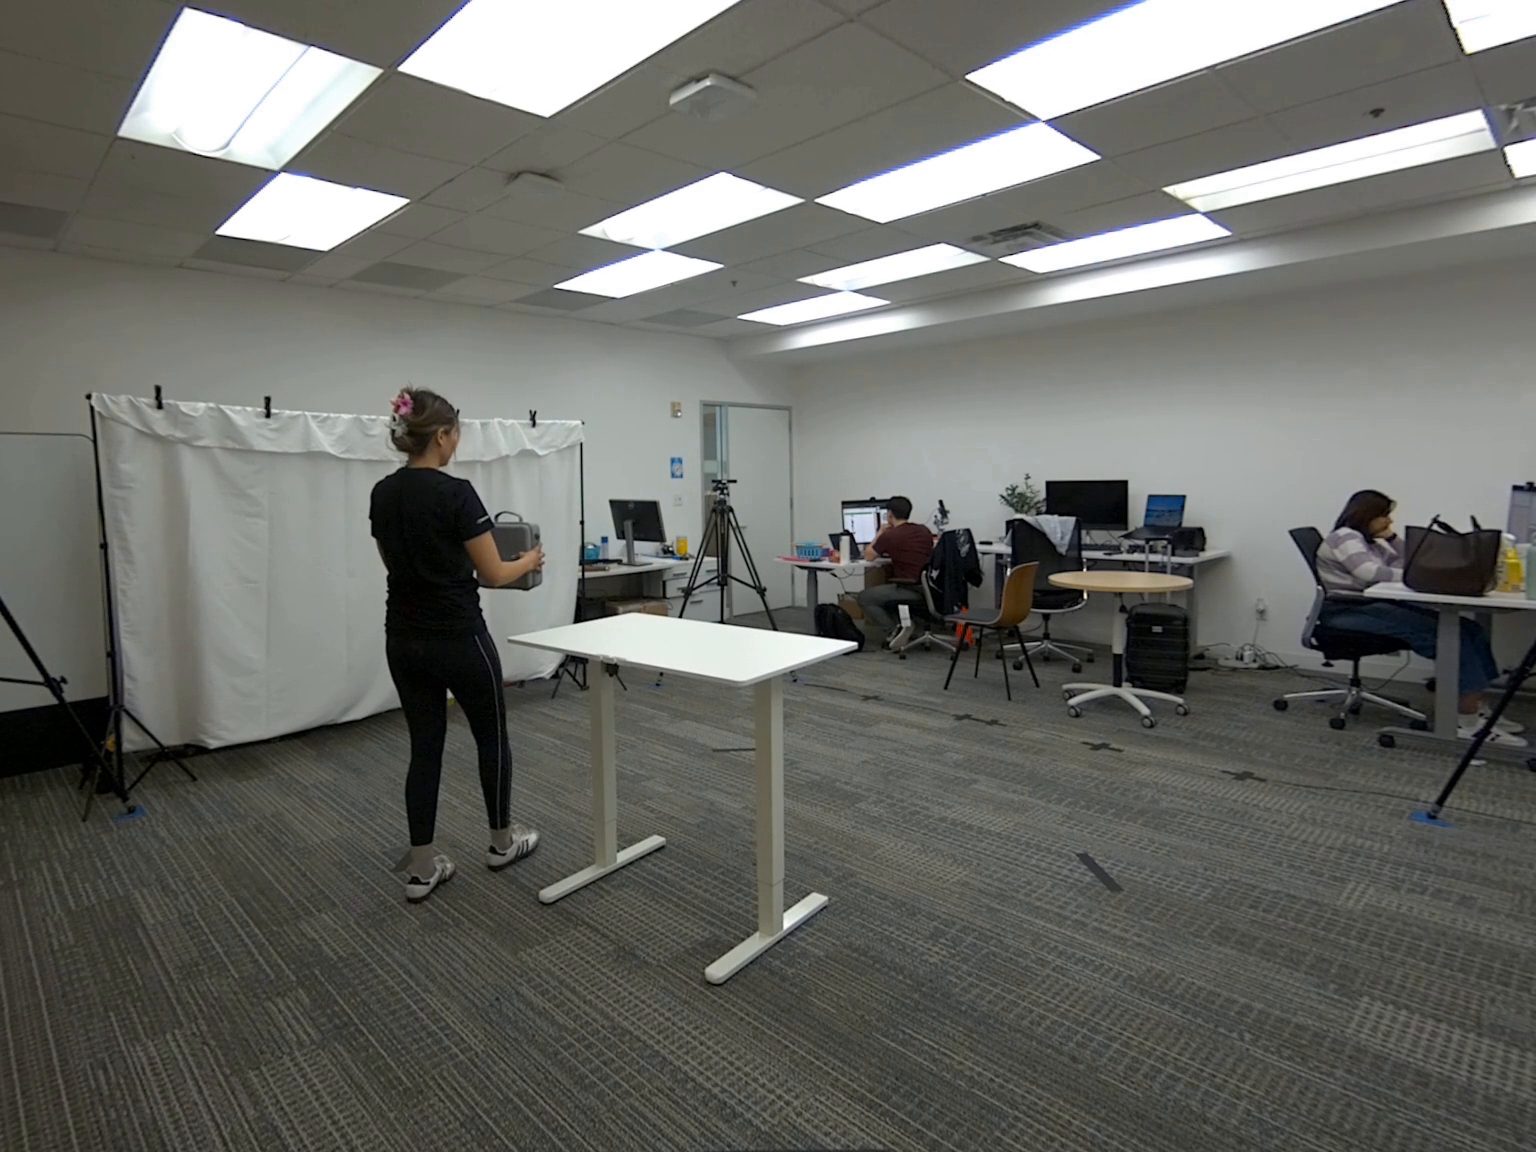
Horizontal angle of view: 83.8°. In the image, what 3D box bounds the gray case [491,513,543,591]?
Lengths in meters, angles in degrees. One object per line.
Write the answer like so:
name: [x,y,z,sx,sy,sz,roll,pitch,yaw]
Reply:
gray case: [-0.998,-0.086,3.287,0.262,0.260,0.102,2,4,21]
